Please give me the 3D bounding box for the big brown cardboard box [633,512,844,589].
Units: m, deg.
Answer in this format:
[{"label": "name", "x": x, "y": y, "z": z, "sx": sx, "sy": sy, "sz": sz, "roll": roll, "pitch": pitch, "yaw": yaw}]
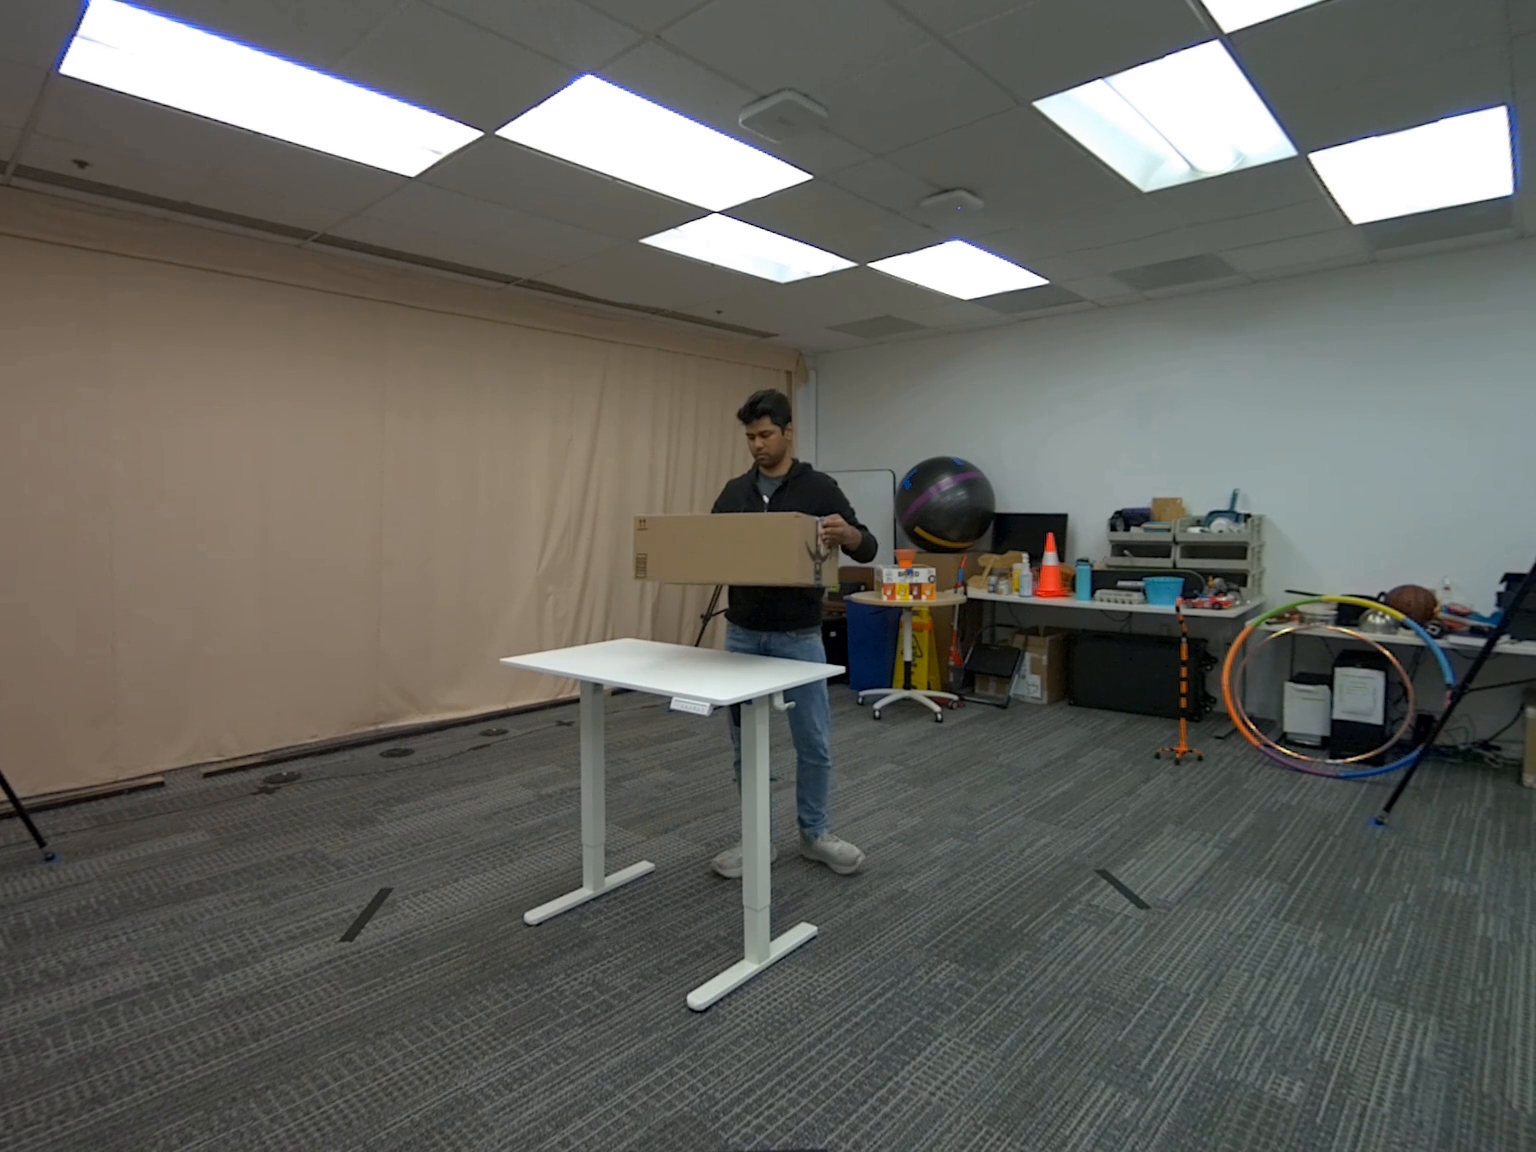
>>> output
[{"label": "big brown cardboard box", "x": -0.095, "y": -0.079, "z": 2.815, "sx": 0.603, "sy": 0.233, "sz": 0.407, "roll": 2, "pitch": -1, "yaw": 24}]
